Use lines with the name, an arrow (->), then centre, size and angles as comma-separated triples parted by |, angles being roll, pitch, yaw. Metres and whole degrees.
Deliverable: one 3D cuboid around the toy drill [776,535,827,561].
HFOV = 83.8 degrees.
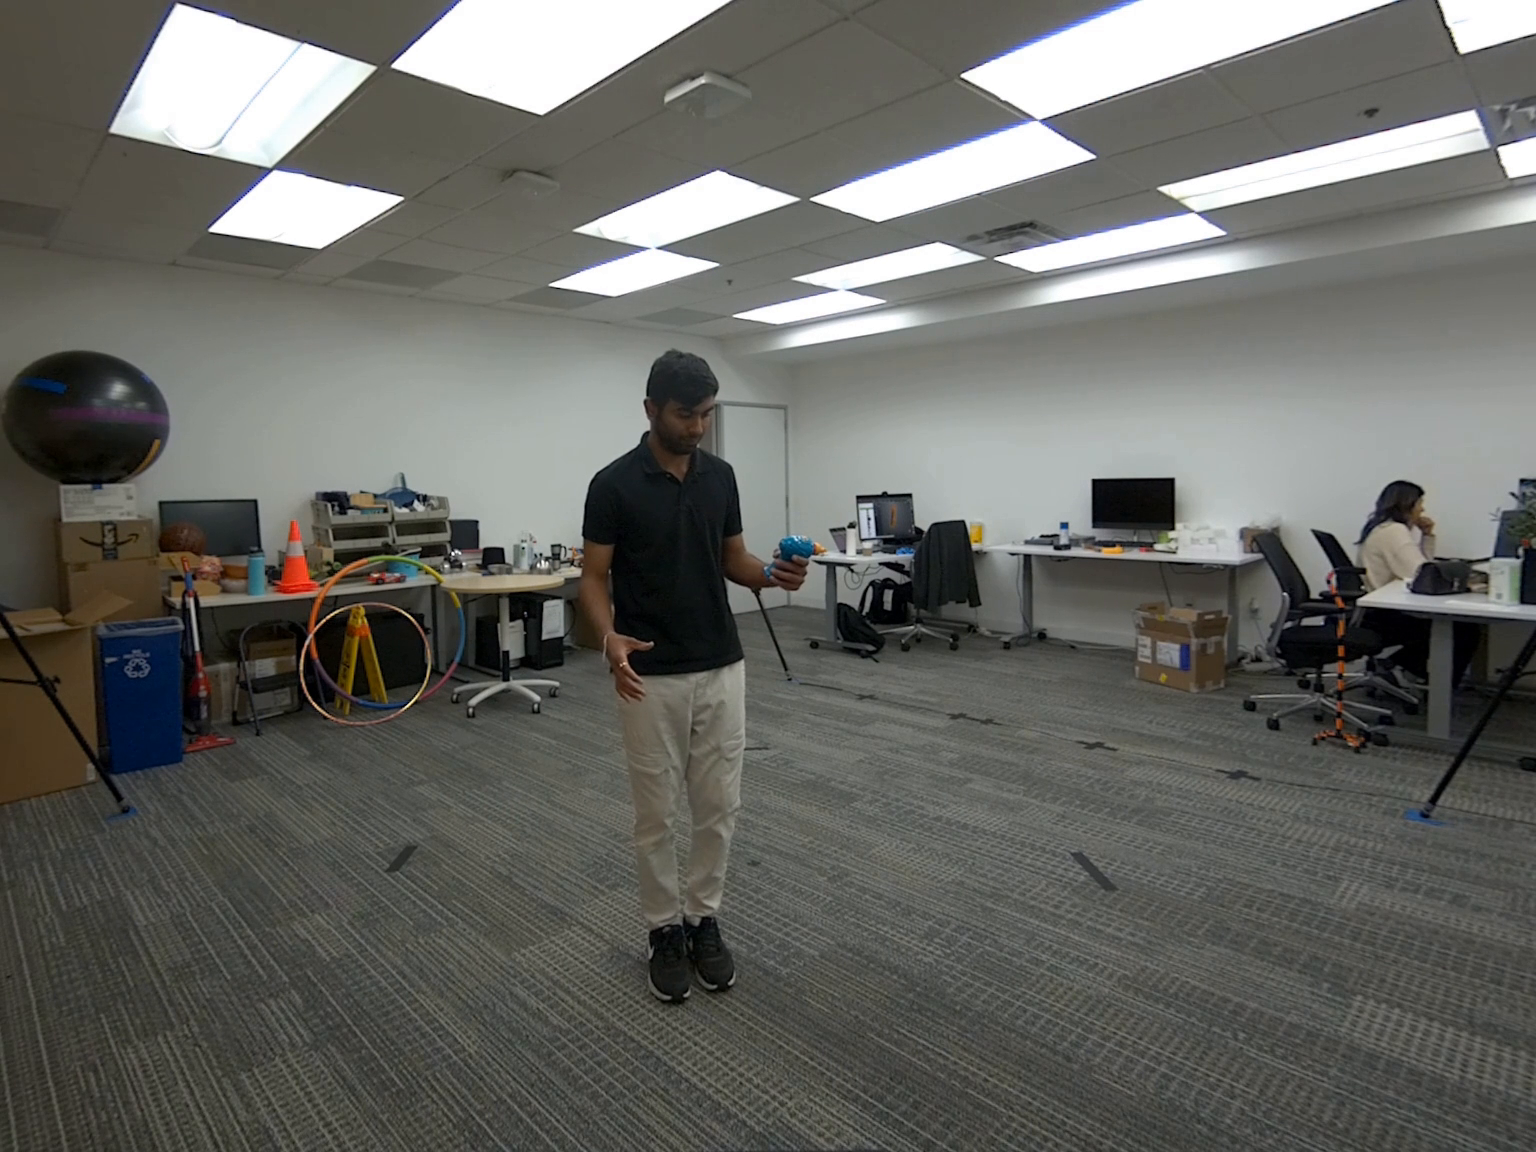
toy drill -> 0.075, -0.046, 2.245 | 0.164, 0.145, 0.063 | 6, 39, -44
